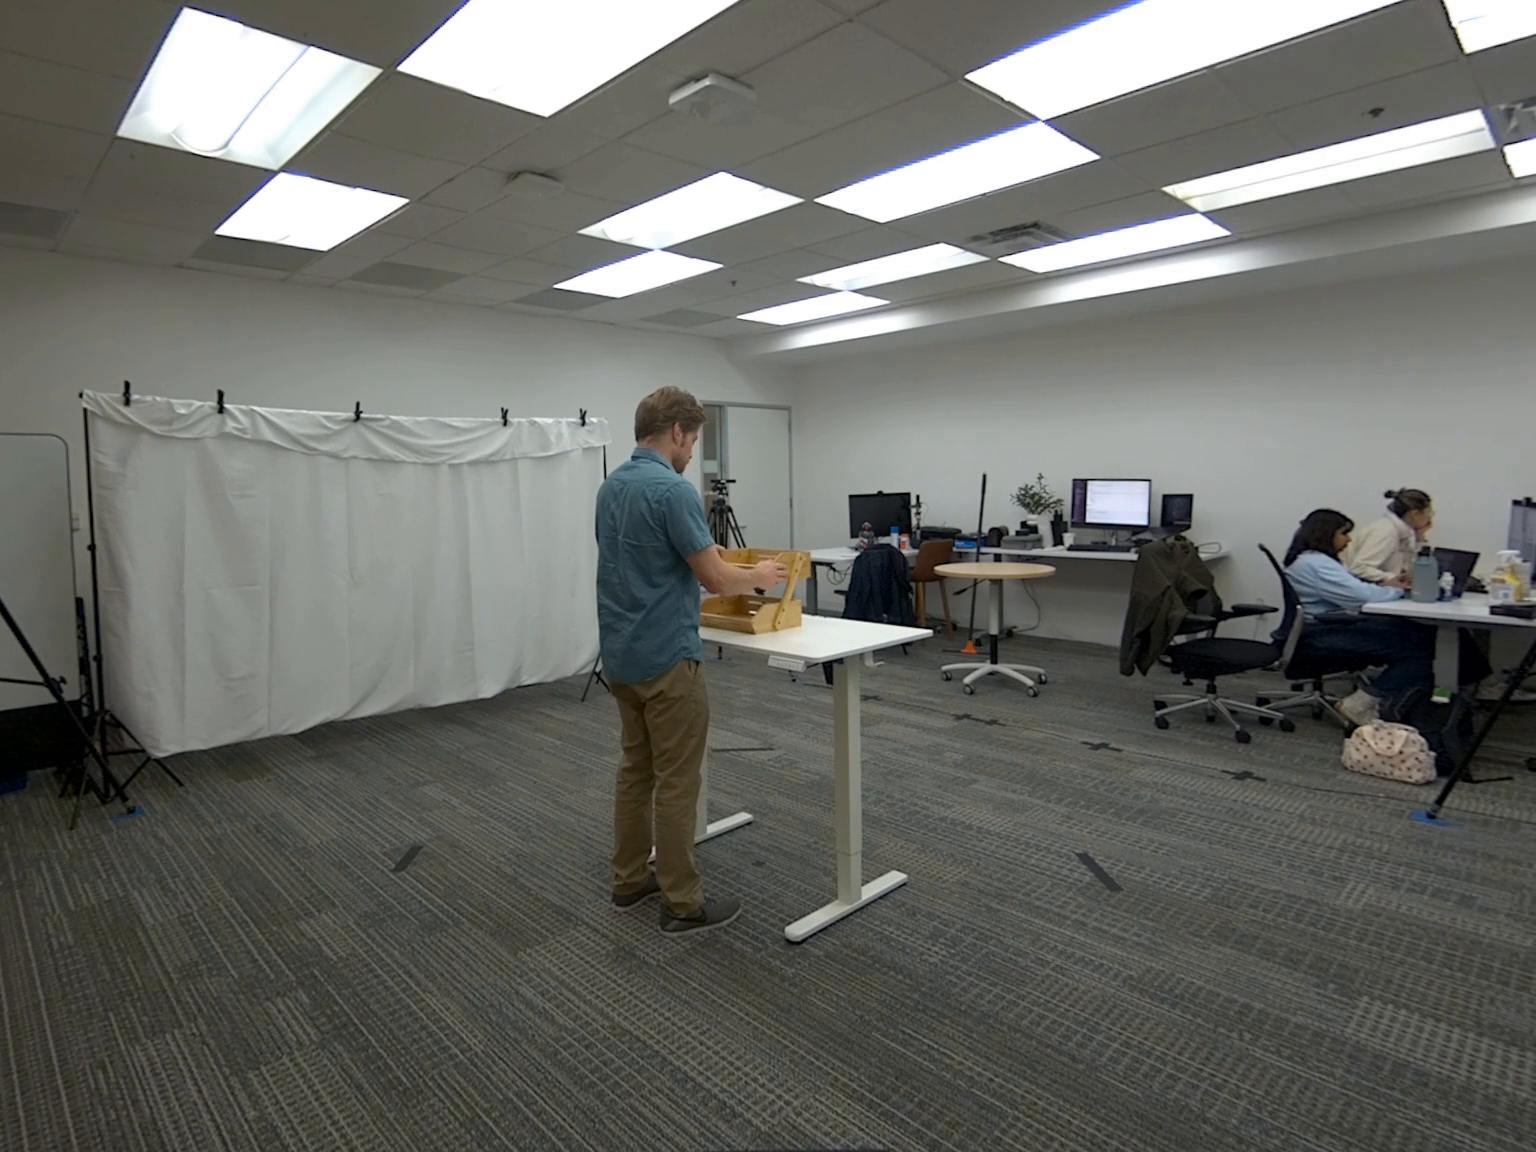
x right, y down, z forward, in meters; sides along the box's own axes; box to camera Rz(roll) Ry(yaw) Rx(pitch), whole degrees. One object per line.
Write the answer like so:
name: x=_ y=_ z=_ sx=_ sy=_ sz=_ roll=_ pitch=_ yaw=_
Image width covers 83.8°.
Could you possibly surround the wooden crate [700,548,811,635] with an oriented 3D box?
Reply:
wooden crate: x=-0.059 y=0.042 z=3.020 sx=0.334 sy=0.272 sz=0.294 roll=4 pitch=6 yaw=44
